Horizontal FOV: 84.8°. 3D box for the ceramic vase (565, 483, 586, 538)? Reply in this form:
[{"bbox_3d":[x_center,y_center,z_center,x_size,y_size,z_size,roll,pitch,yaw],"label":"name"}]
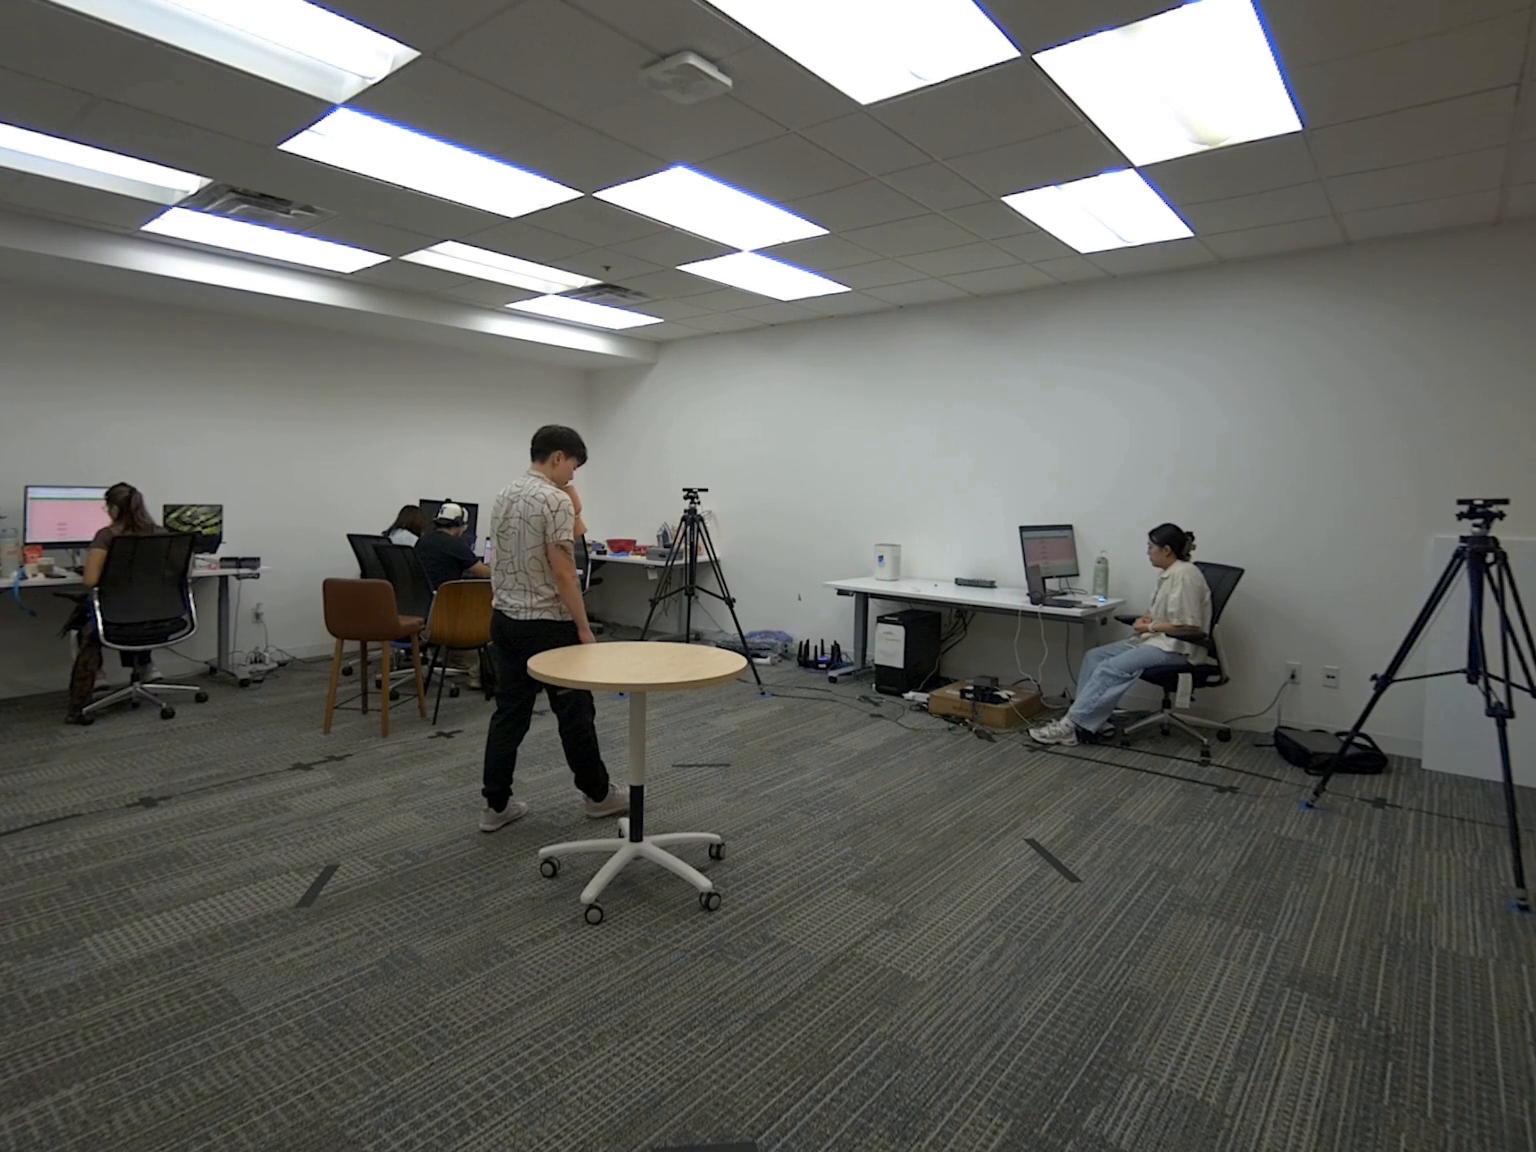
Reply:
[{"bbox_3d":[-0.926,-0.293,3.830,0.138,0.217,0.157,-12,13,36],"label":"ceramic vase"}]
